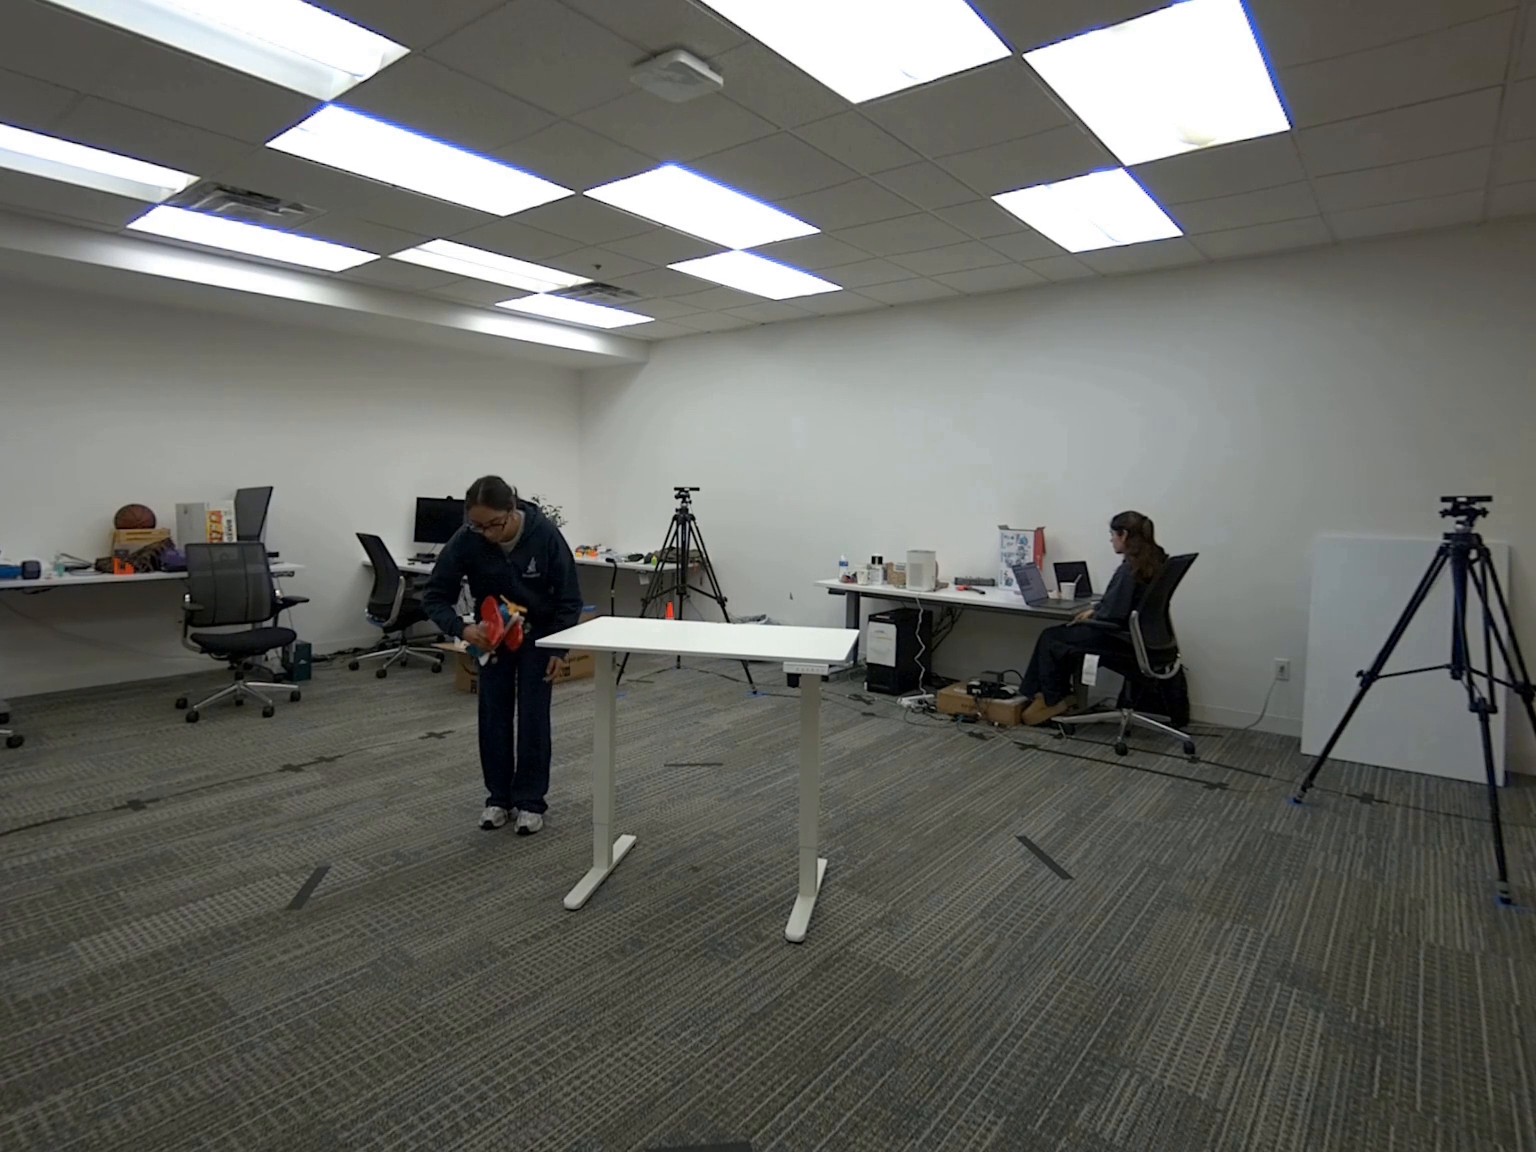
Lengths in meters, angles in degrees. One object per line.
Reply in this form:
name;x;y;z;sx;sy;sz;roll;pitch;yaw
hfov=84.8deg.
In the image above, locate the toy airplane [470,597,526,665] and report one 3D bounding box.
toy airplane;-1.042;0.227;3.239;0.260;0.261;0.150;10;-26;42
